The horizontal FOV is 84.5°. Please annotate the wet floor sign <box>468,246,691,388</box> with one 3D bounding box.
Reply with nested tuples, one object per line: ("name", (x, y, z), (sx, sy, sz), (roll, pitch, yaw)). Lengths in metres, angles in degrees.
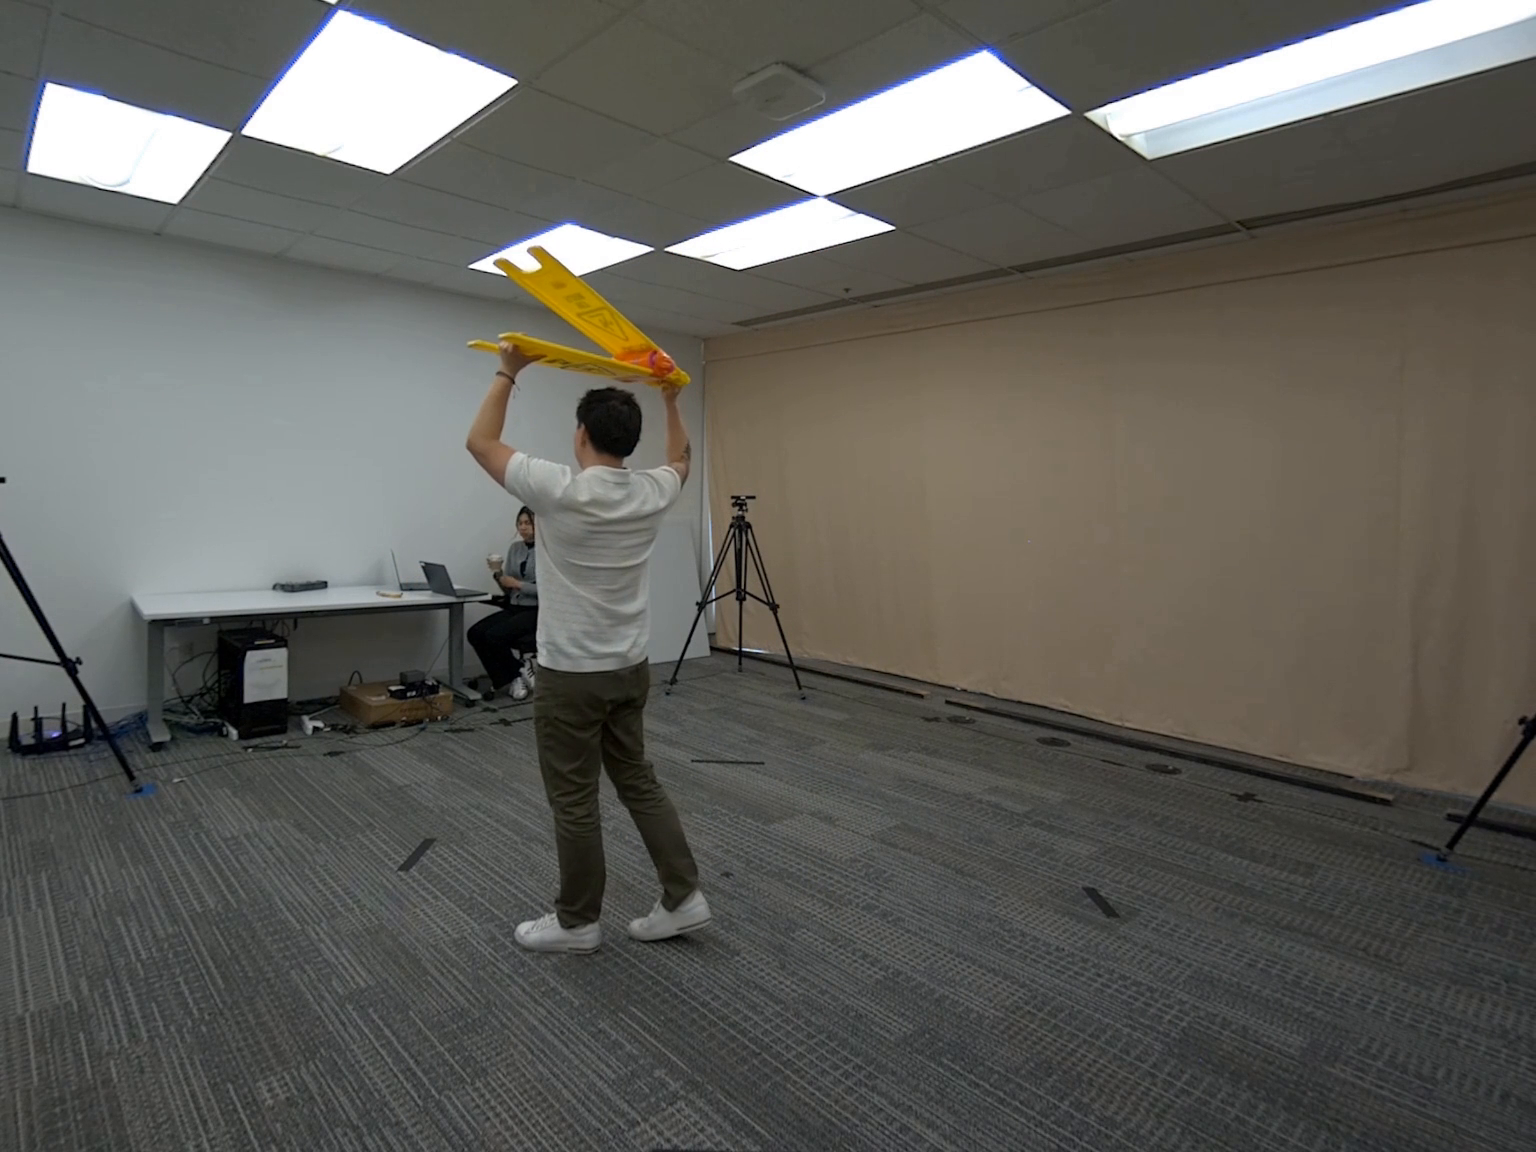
("wet floor sign", (-0.533, -0.707, 2.580), (0.627, 0.290, 0.290), (20, -8, -42))
